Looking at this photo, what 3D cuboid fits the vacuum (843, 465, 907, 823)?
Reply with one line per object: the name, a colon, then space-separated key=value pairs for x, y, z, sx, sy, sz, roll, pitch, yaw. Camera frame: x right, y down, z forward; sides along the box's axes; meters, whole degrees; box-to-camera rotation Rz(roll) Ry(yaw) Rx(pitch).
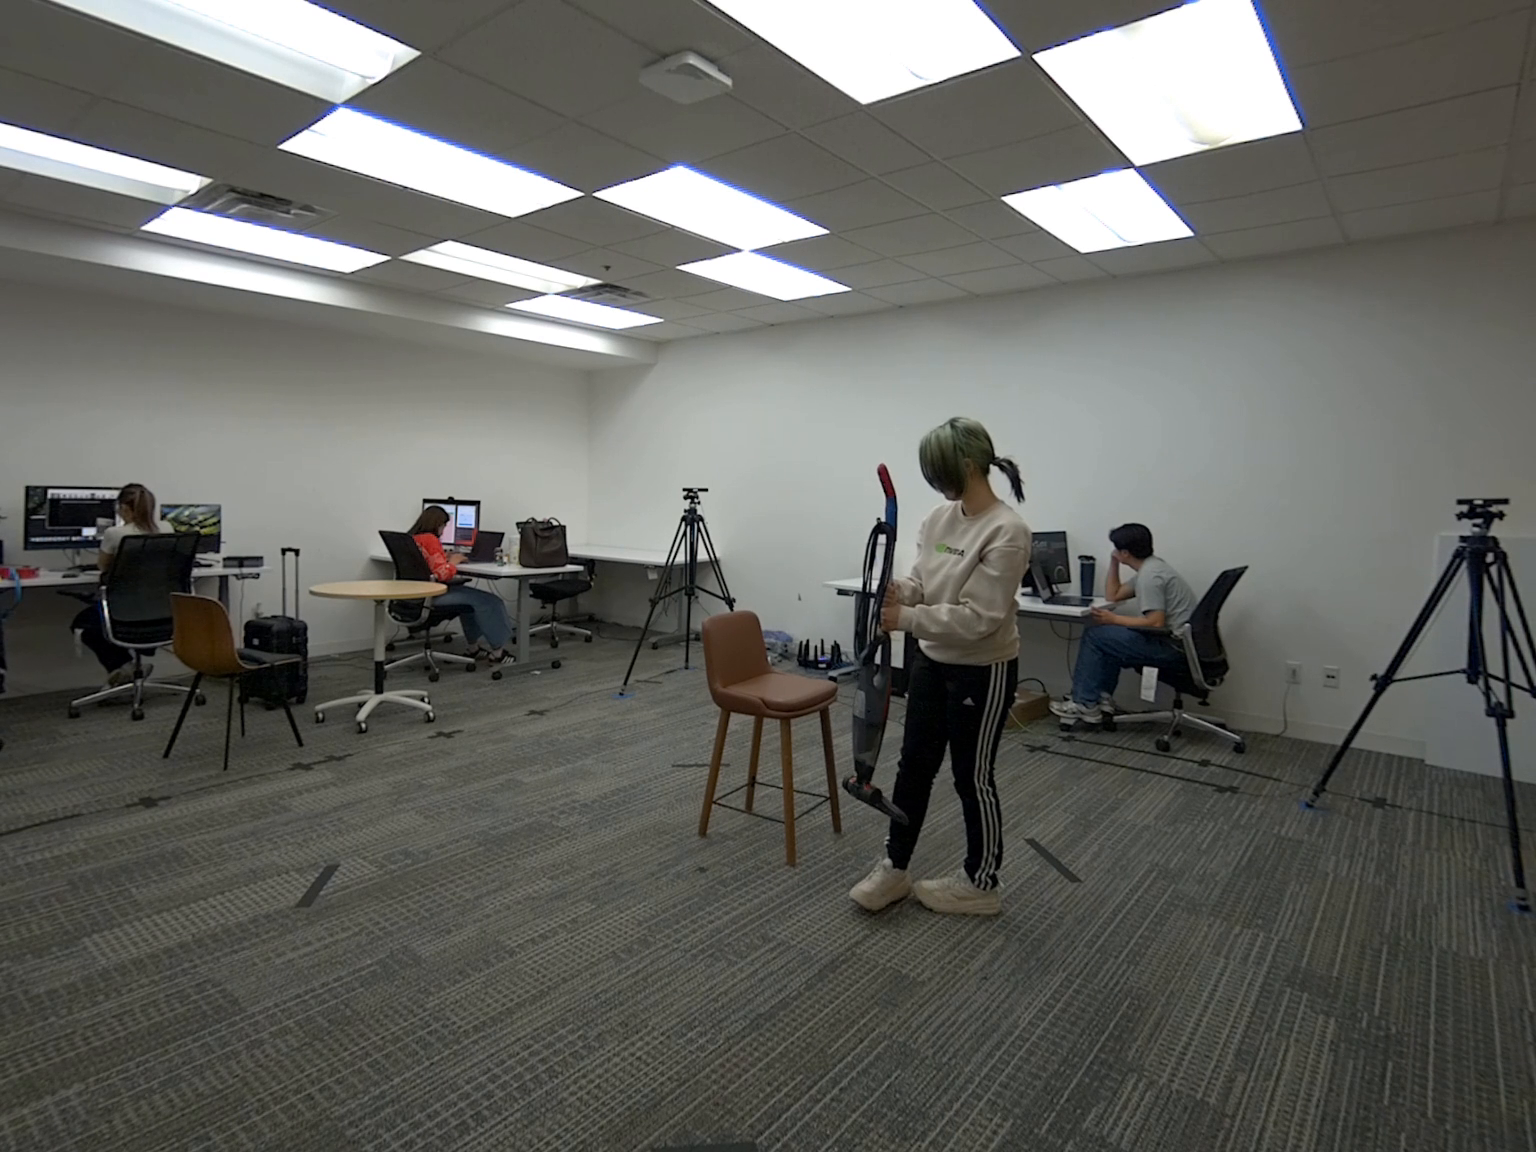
vacuum: x=0.328 y=0.184 z=2.646 sx=0.140 sy=1.043 sz=0.261 roll=-2 pitch=7 yaw=-30
